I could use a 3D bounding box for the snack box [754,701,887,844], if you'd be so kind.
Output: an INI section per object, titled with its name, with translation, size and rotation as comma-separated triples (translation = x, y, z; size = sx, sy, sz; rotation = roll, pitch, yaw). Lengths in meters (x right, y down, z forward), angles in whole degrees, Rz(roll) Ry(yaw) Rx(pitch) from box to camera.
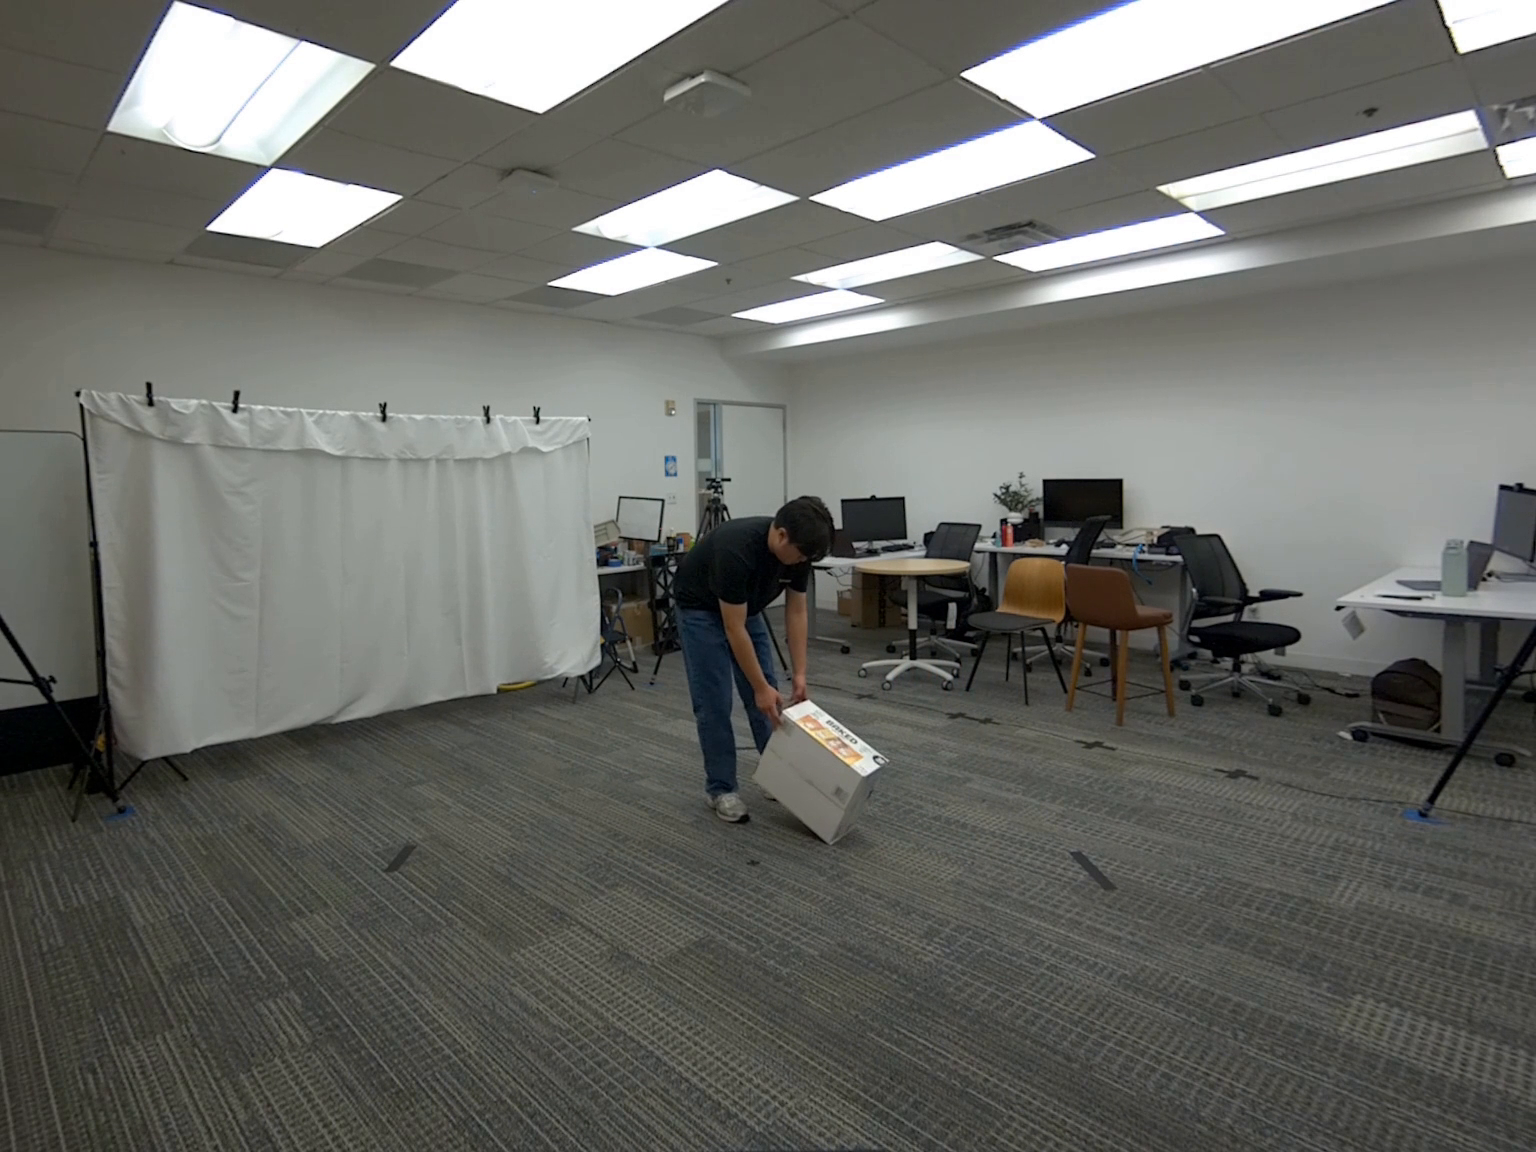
[snack box]
translation = 0.203, 0.765, 3.366
size = 0.419, 0.337, 0.201
rotation = 35, 24, 29
